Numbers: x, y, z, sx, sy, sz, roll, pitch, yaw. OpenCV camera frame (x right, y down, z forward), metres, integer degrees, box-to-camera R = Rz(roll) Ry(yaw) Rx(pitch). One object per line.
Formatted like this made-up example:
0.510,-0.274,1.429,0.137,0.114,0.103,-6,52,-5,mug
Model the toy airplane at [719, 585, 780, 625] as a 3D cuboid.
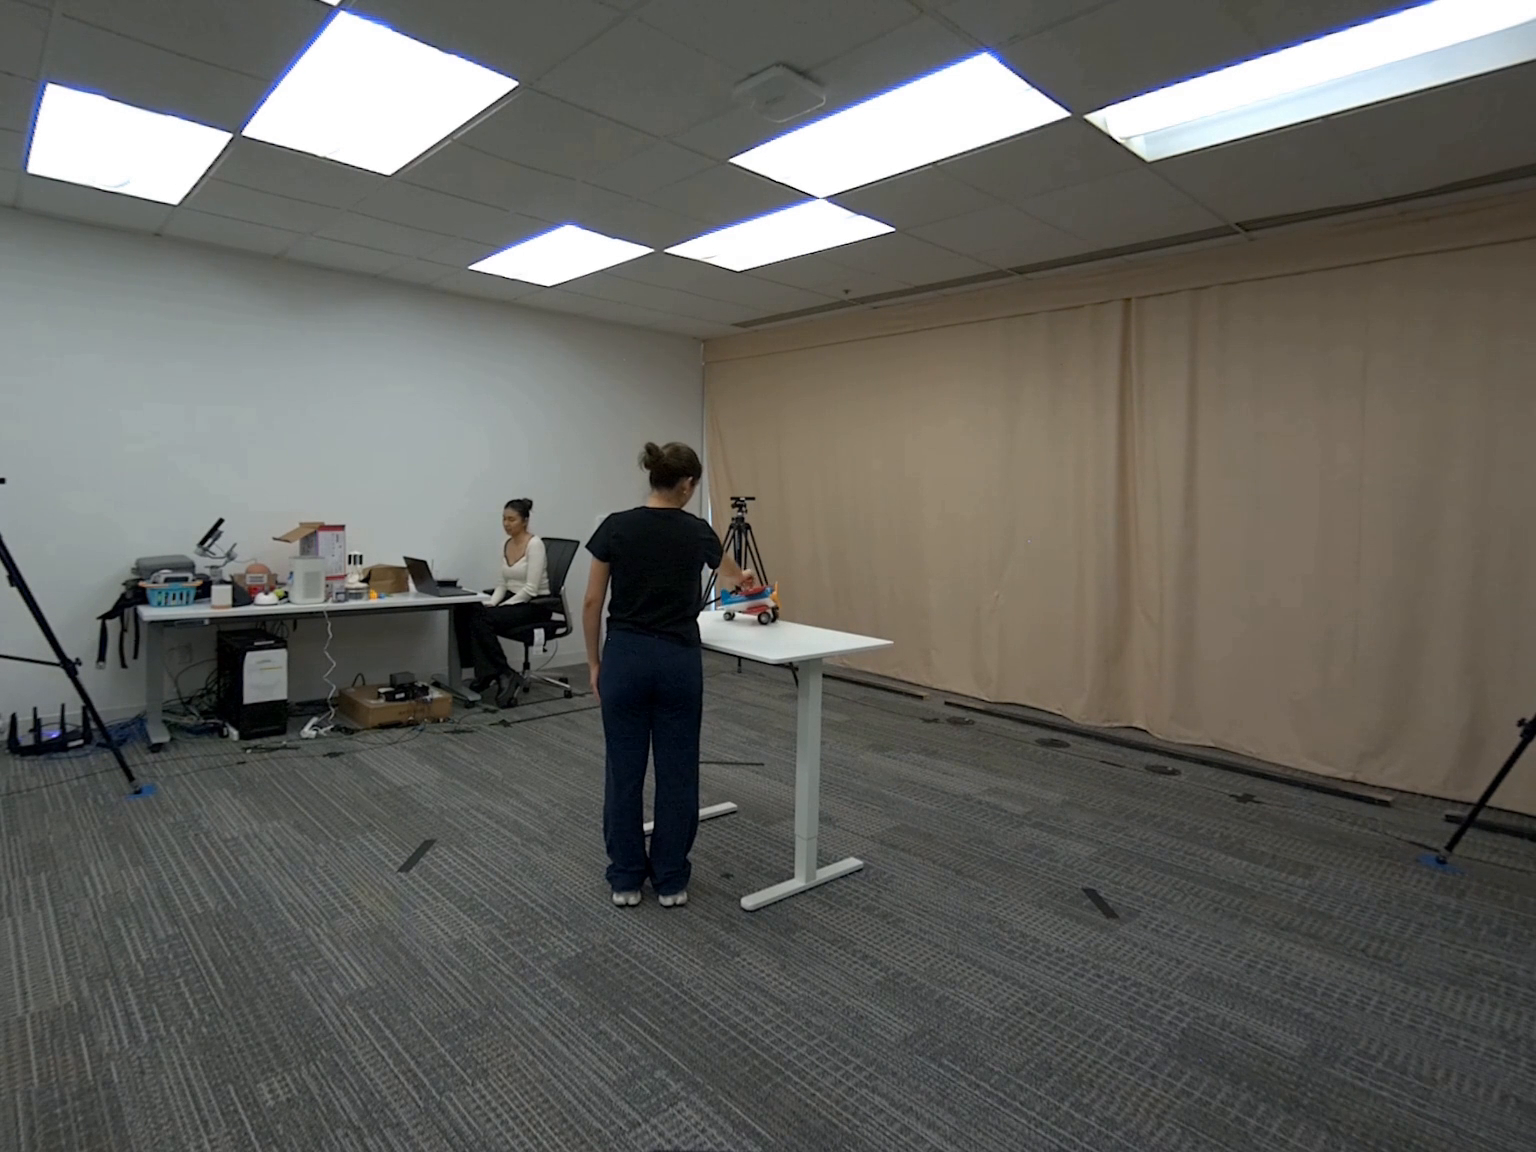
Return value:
-0.089,0.114,3.445,0.258,0.156,0.253,2,6,-7,toy airplane
